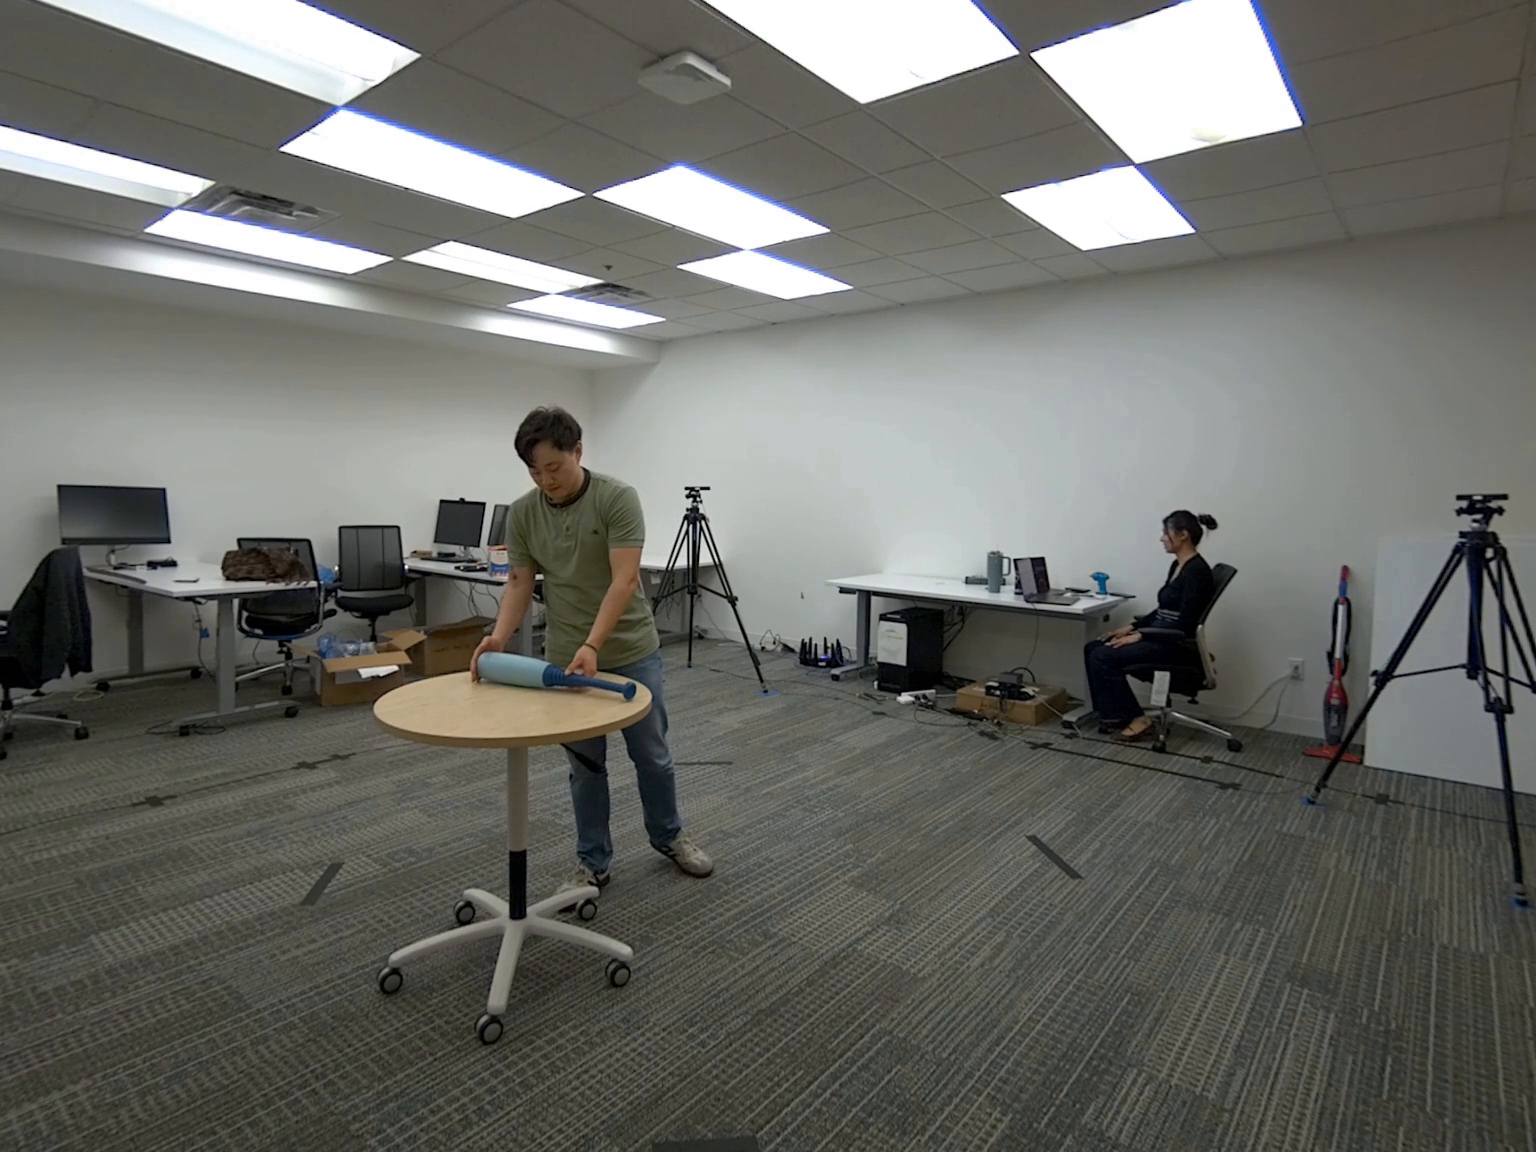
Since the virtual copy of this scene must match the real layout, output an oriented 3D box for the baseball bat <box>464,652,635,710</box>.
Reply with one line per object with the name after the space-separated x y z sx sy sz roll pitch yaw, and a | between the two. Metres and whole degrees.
-0.658 0.300 2.501 0.557 0.089 0.087 5 5 23 | baseball bat
